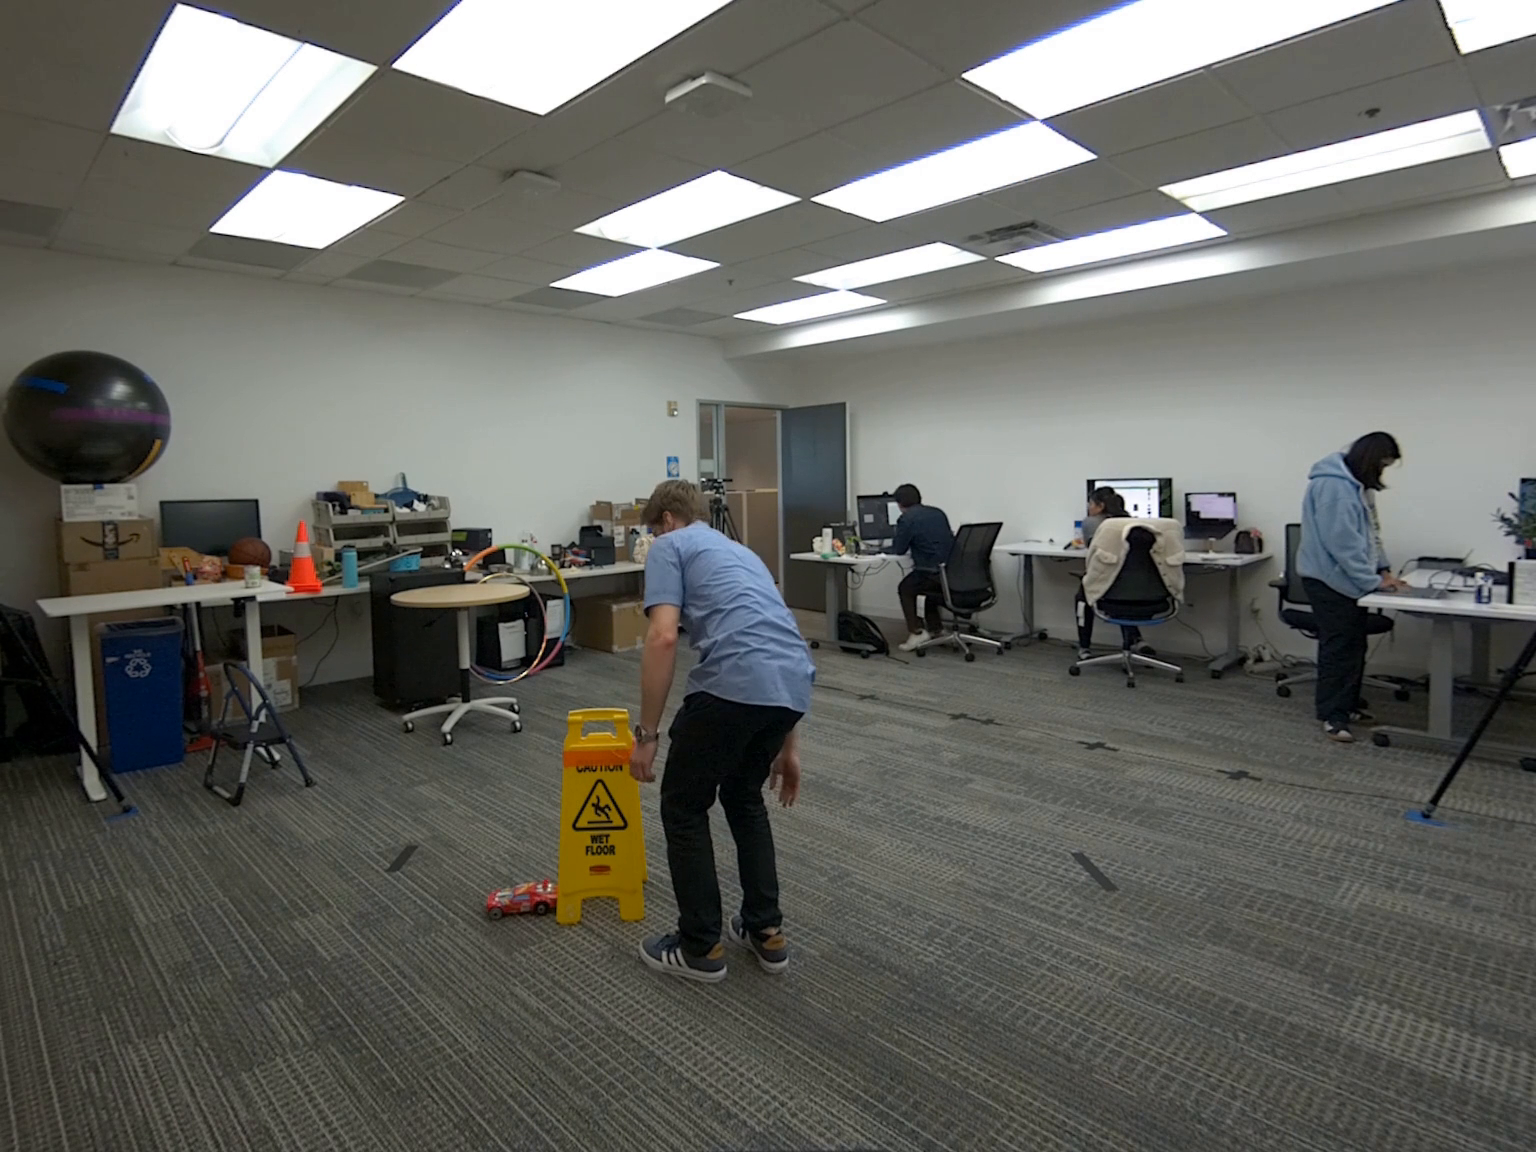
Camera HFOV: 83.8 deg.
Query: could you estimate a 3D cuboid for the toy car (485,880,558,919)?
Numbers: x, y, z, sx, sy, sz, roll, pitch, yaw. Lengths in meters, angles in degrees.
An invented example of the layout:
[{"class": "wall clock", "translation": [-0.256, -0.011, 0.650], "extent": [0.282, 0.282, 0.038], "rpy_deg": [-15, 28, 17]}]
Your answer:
[{"class": "toy car", "translation": [-0.783, 1.063, 2.808], "extent": [0.253, 0.083, 0.131], "rpy_deg": [-12, 6, -6]}]
